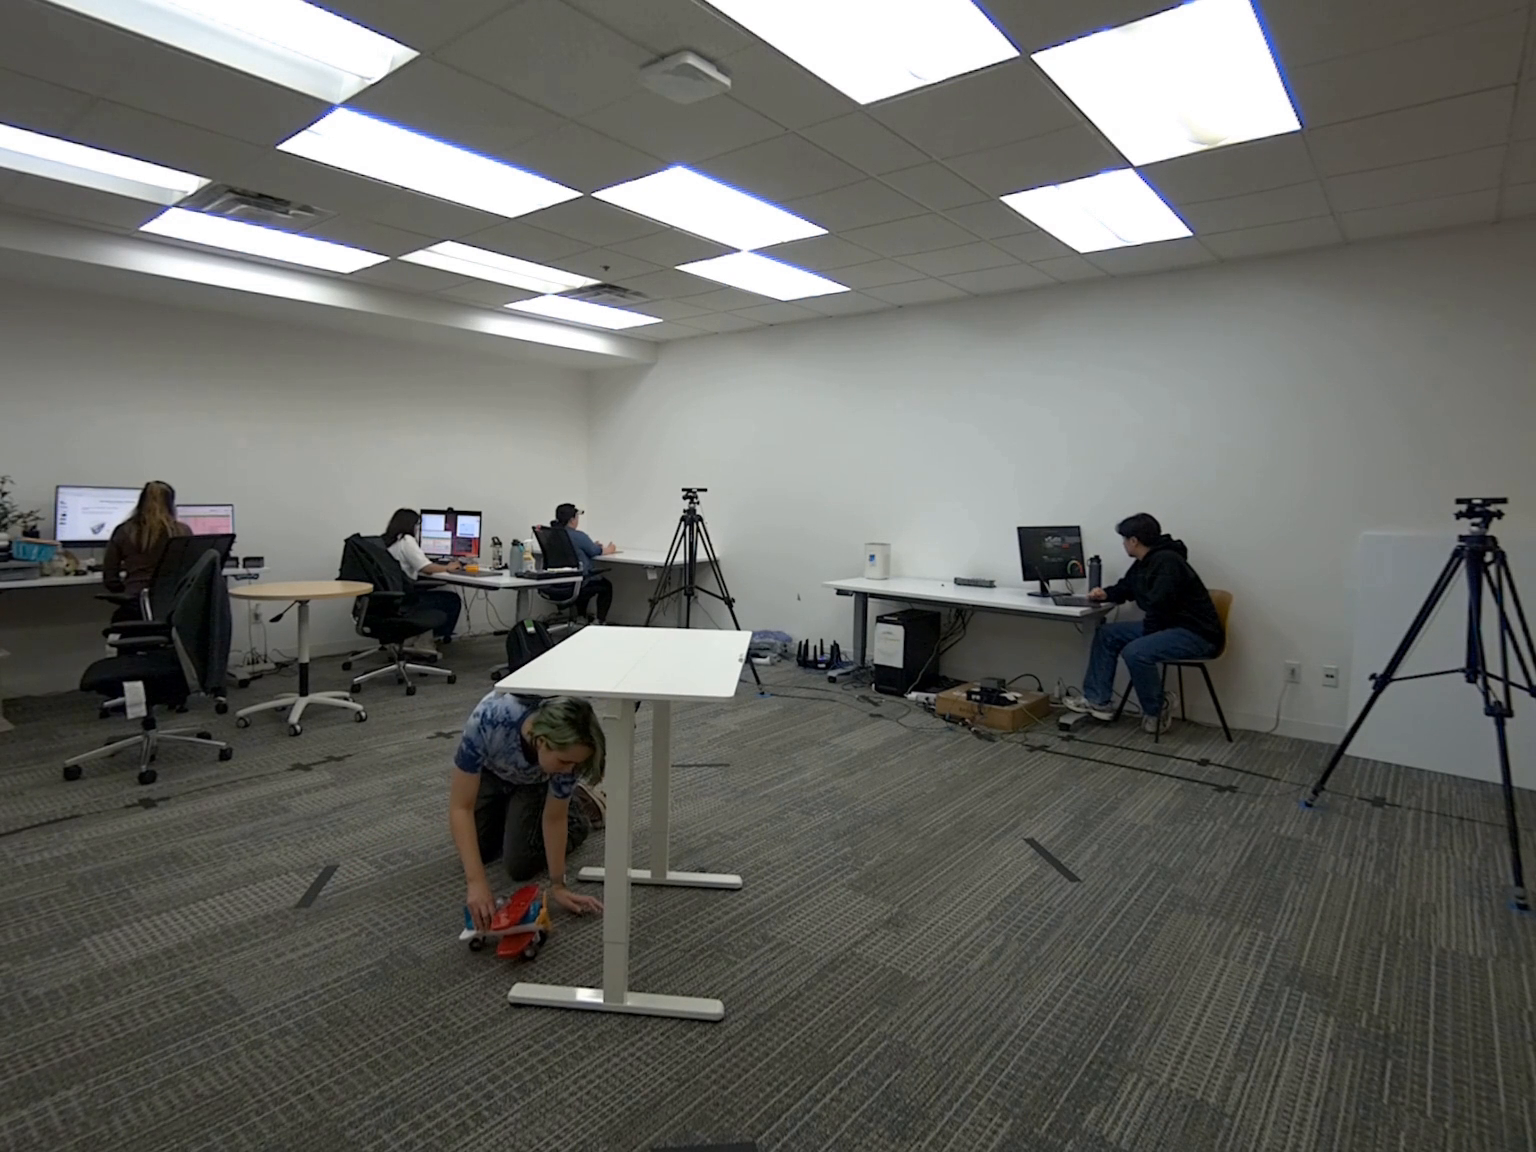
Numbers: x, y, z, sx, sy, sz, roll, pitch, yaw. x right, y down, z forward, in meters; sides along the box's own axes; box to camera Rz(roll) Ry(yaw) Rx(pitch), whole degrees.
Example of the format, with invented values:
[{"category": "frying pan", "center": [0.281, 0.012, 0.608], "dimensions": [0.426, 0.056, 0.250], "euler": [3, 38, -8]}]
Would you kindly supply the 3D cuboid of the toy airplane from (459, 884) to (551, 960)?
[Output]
[{"category": "toy airplane", "center": [-0.799, 1.048, 2.524], "dimensions": [0.254, 0.156, 0.258], "euler": [-1, 7, -22]}]
